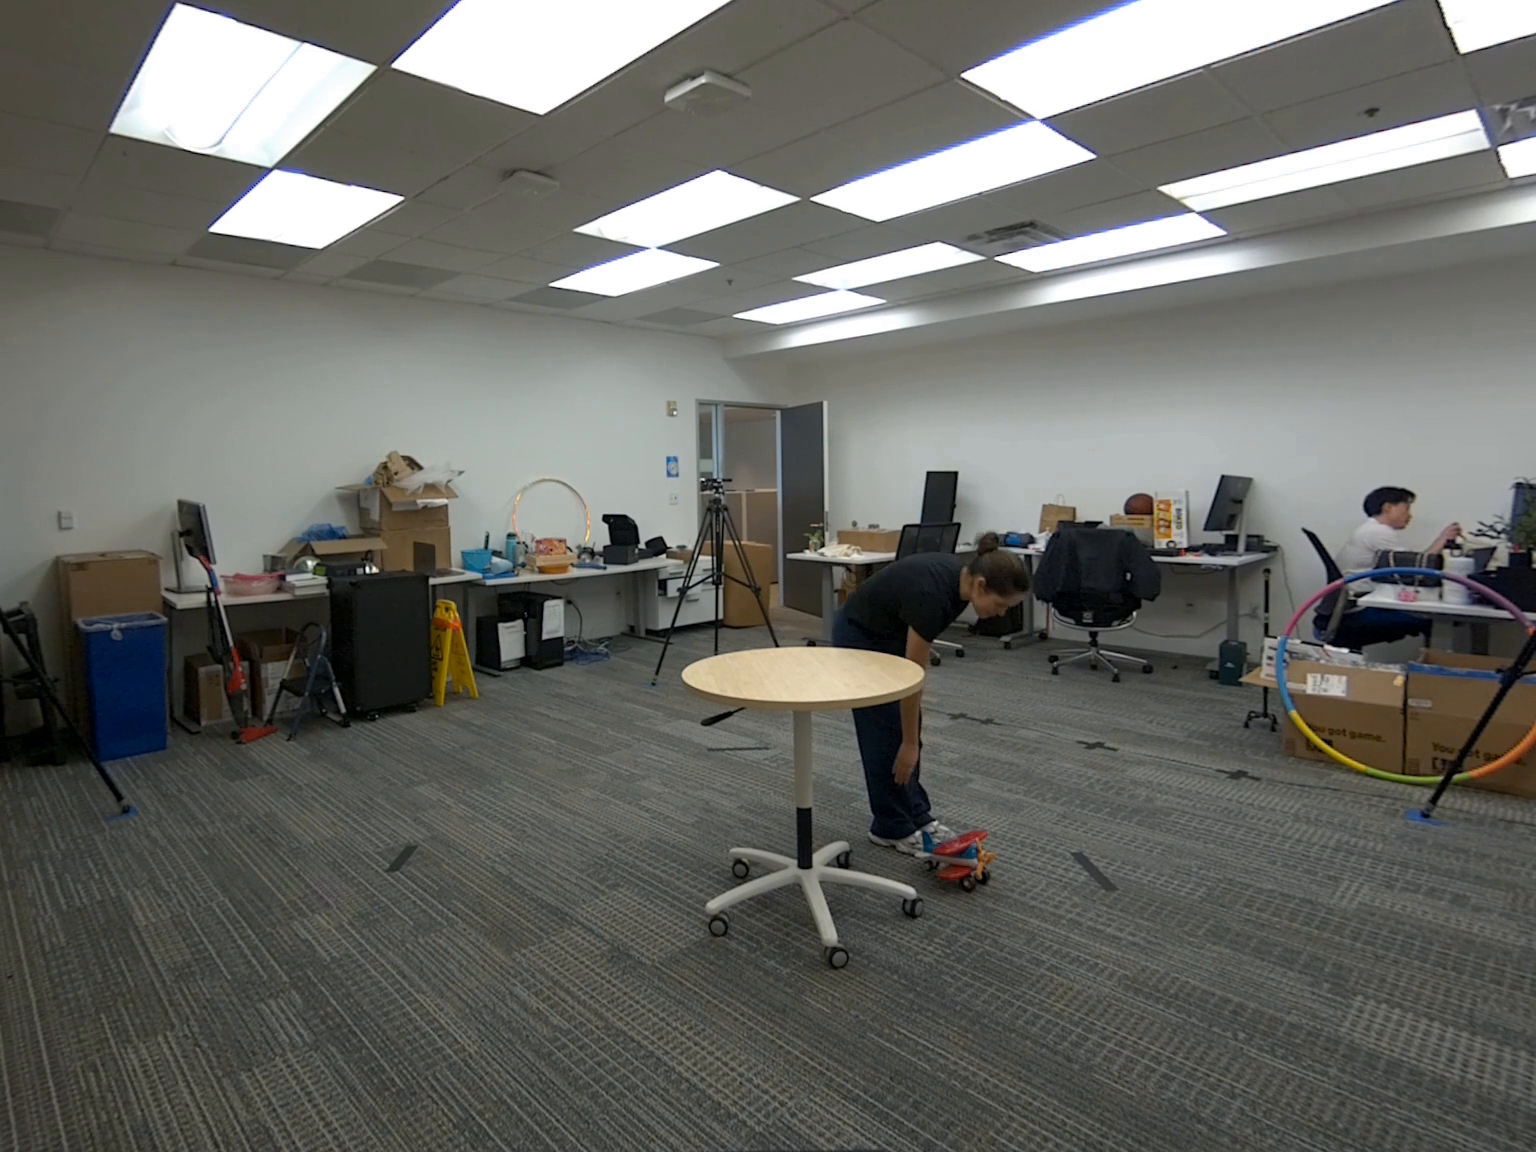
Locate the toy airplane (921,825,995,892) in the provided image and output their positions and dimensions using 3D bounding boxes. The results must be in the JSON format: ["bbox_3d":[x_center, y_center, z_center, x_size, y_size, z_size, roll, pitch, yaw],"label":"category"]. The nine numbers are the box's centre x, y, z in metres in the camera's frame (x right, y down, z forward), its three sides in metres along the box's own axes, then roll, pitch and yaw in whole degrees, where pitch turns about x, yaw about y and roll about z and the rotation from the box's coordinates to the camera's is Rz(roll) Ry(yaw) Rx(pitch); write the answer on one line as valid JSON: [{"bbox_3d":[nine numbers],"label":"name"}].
[{"bbox_3d":[0.634,0.980,2.971,0.264,0.156,0.247,3,6,19],"label":"toy airplane"}]
